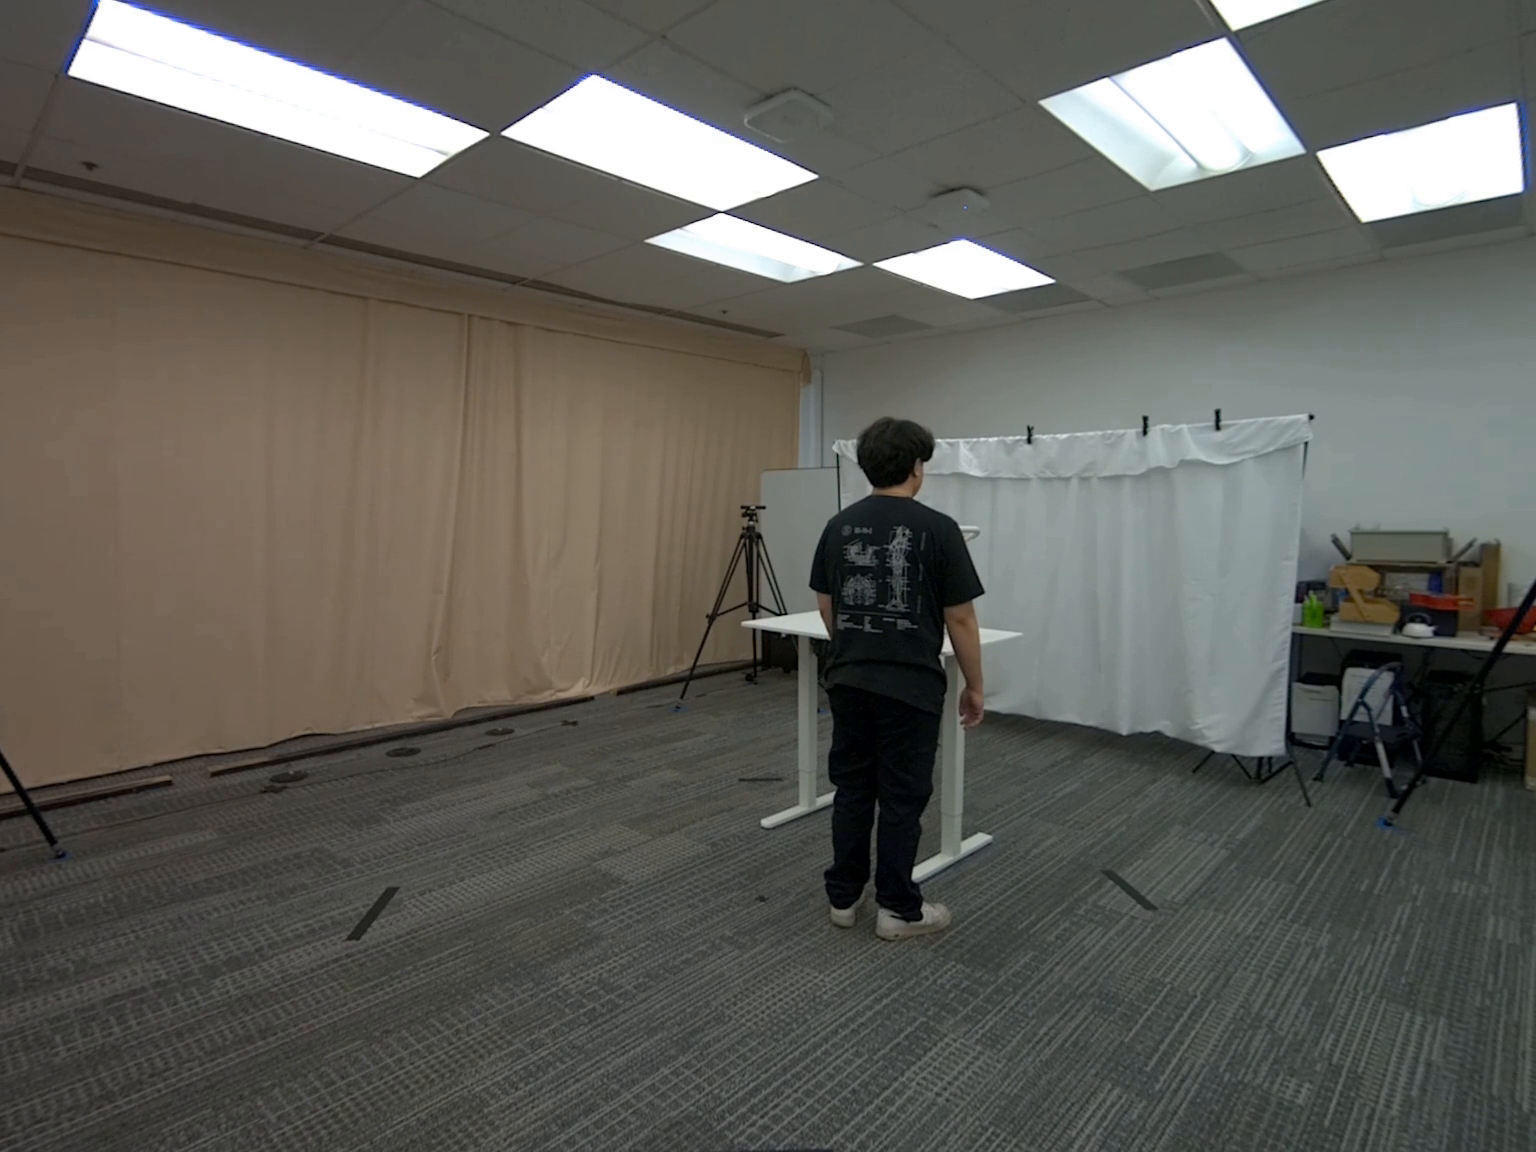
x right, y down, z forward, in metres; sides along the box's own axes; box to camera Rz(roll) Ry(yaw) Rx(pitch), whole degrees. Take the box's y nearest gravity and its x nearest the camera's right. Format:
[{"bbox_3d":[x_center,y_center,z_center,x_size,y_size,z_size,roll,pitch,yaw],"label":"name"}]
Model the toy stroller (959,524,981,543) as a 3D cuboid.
[{"bbox_3d":[0.611,0.006,3.343,0.273,0.531,0.354,-2,20,-35],"label":"toy stroller"}]
